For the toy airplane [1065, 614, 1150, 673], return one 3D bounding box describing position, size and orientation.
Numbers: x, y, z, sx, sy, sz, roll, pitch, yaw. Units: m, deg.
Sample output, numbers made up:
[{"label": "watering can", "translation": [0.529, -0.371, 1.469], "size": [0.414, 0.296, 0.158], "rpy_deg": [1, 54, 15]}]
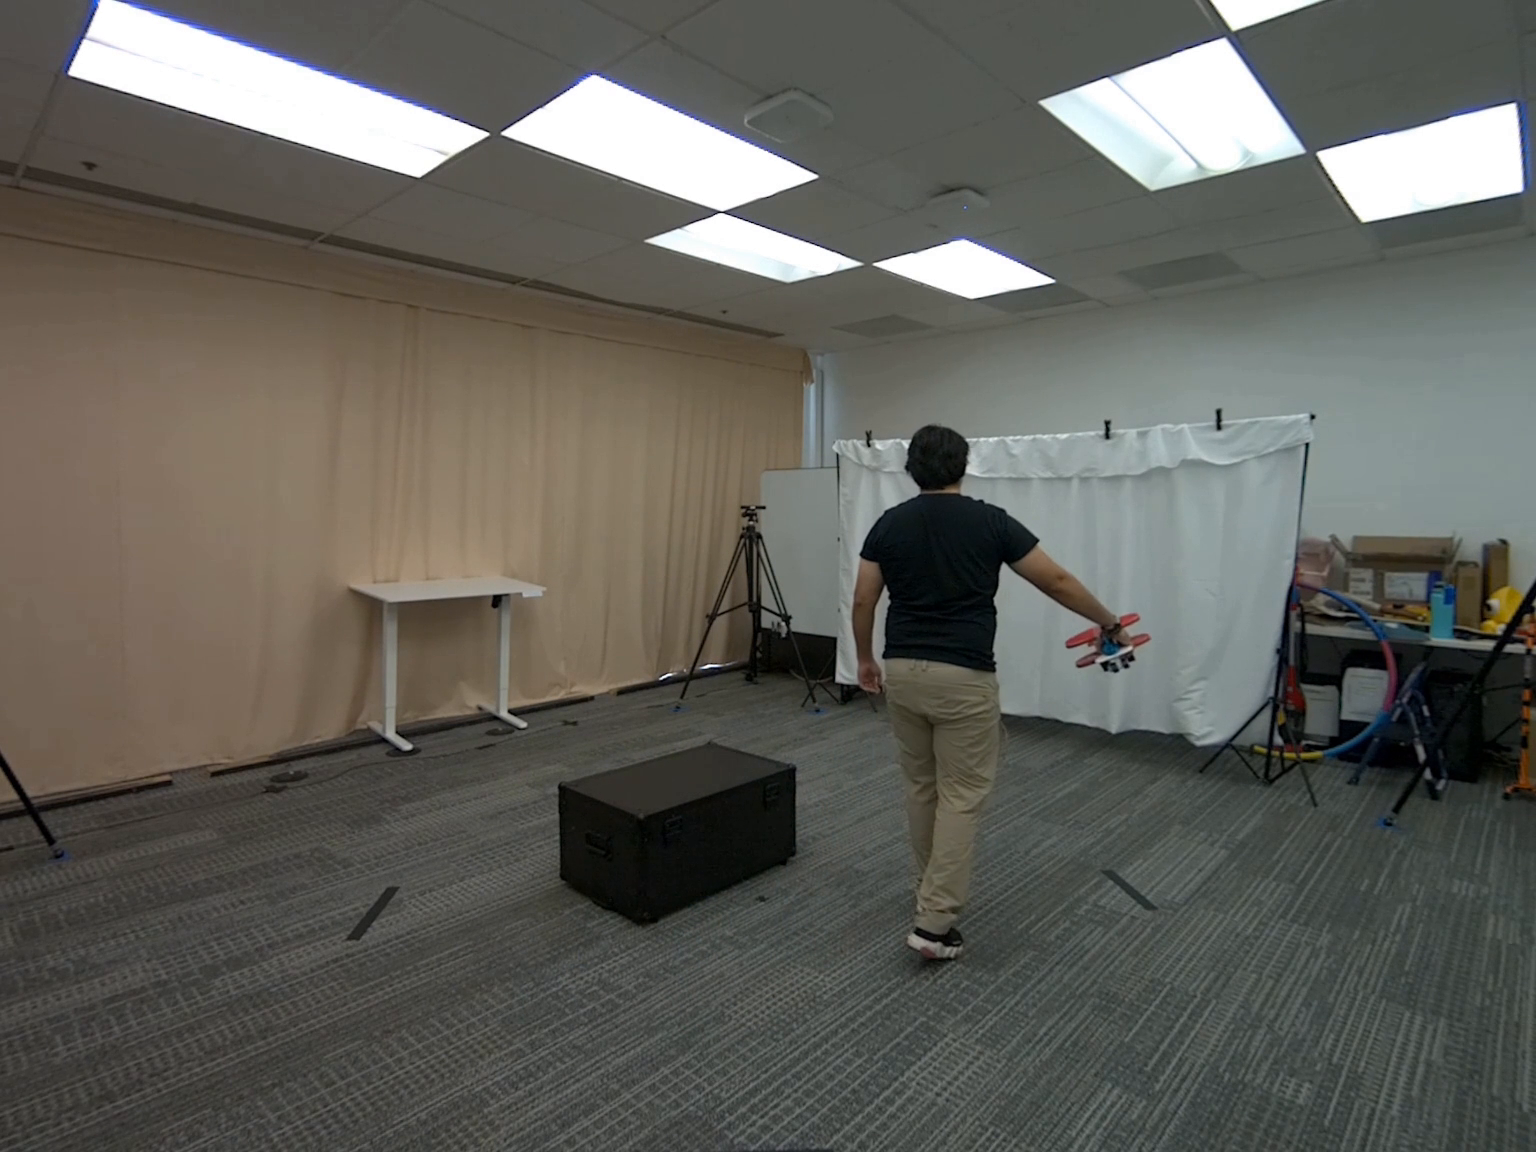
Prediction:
[{"label": "toy airplane", "translation": [1.184, 0.237, 2.838], "size": [0.249, 0.158, 0.257], "rpy_deg": [-23, -12, -9]}]
